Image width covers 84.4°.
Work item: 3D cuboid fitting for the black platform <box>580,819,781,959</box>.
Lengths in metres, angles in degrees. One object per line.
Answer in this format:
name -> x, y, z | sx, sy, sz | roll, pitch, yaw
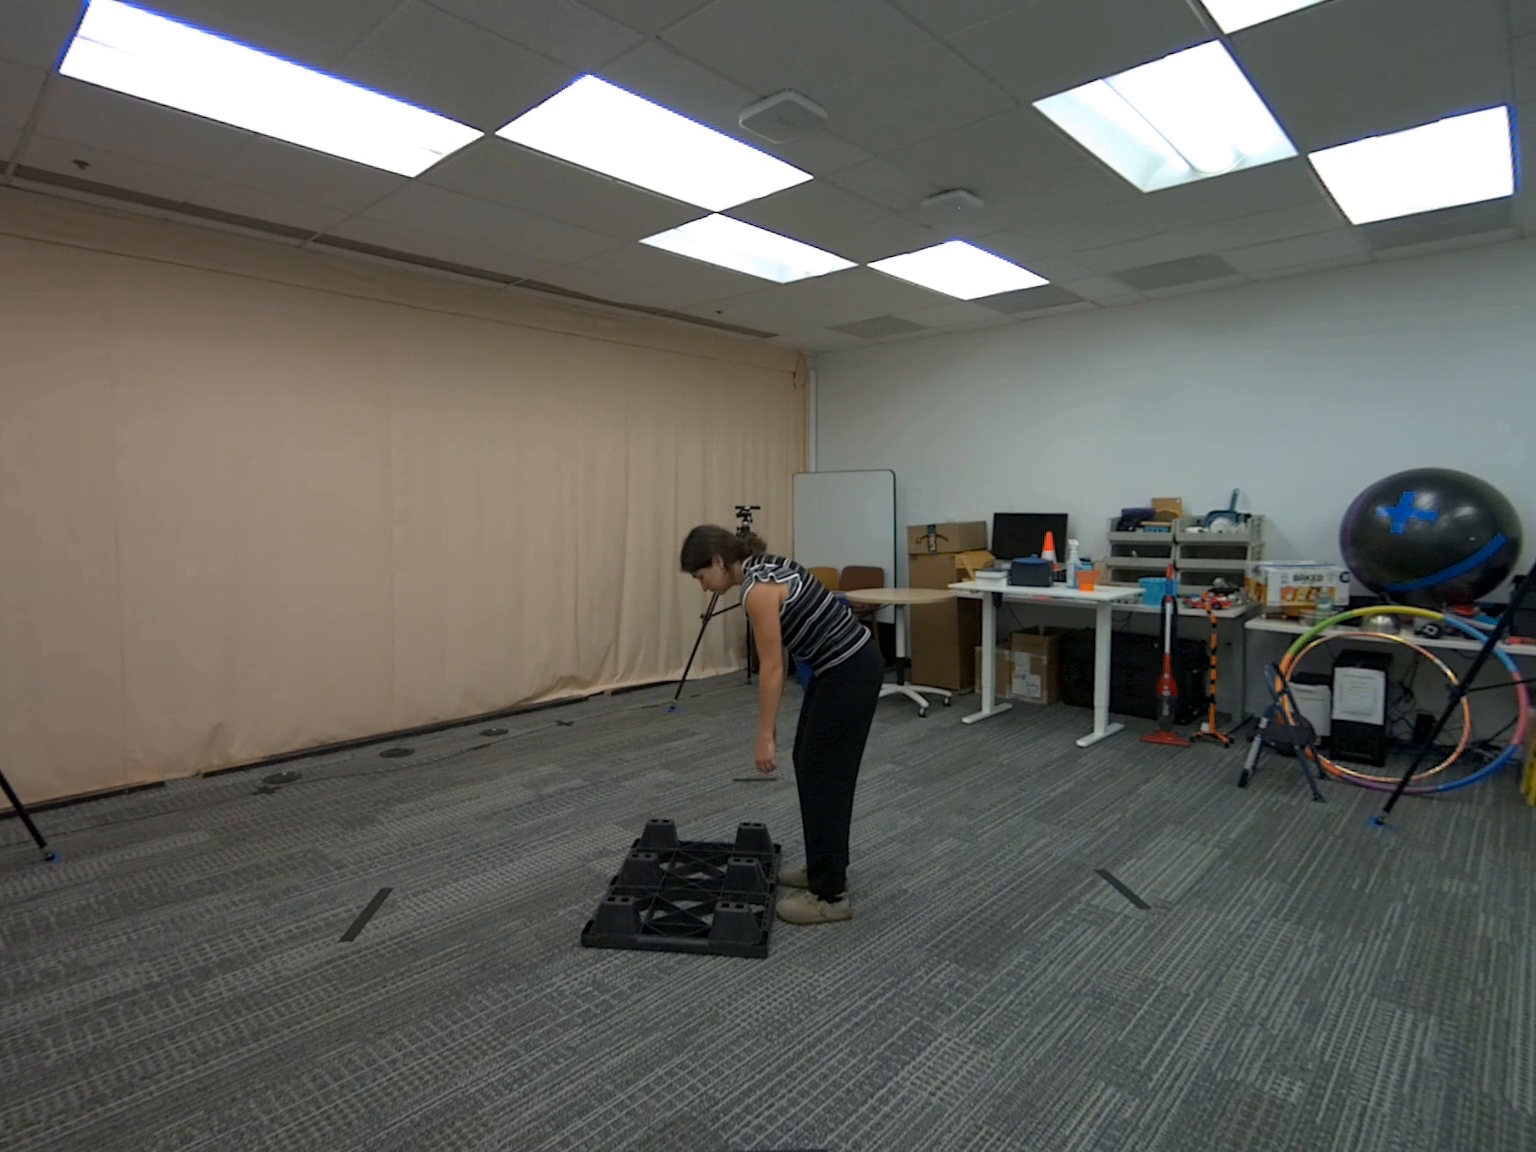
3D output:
black platform -> -0.272, 1.076, 3.016 | 0.609, 0.143, 0.802 | 0, 5, 5
